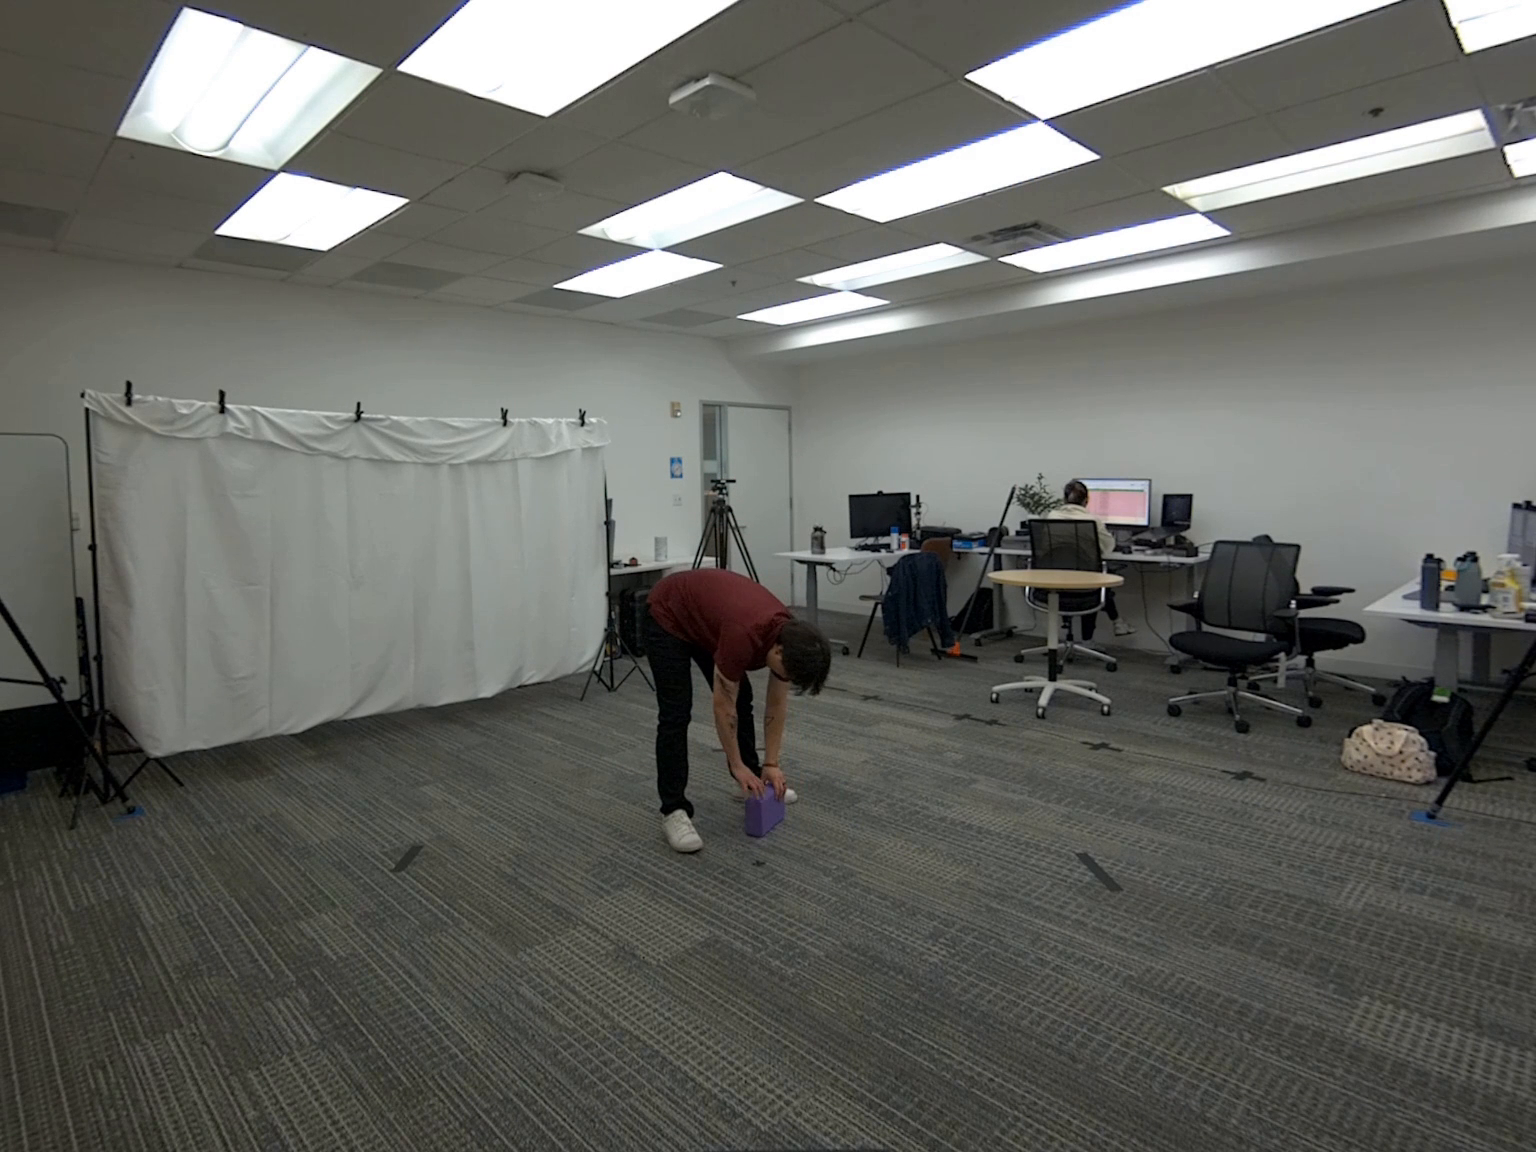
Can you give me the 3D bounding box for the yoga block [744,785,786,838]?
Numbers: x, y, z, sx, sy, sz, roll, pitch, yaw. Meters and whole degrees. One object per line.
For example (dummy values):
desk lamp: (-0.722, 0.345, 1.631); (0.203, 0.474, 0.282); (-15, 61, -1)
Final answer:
yoga block: (-0.017, 0.934, 3.441); (0.078, 0.148, 0.225); (0, 5, 25)
